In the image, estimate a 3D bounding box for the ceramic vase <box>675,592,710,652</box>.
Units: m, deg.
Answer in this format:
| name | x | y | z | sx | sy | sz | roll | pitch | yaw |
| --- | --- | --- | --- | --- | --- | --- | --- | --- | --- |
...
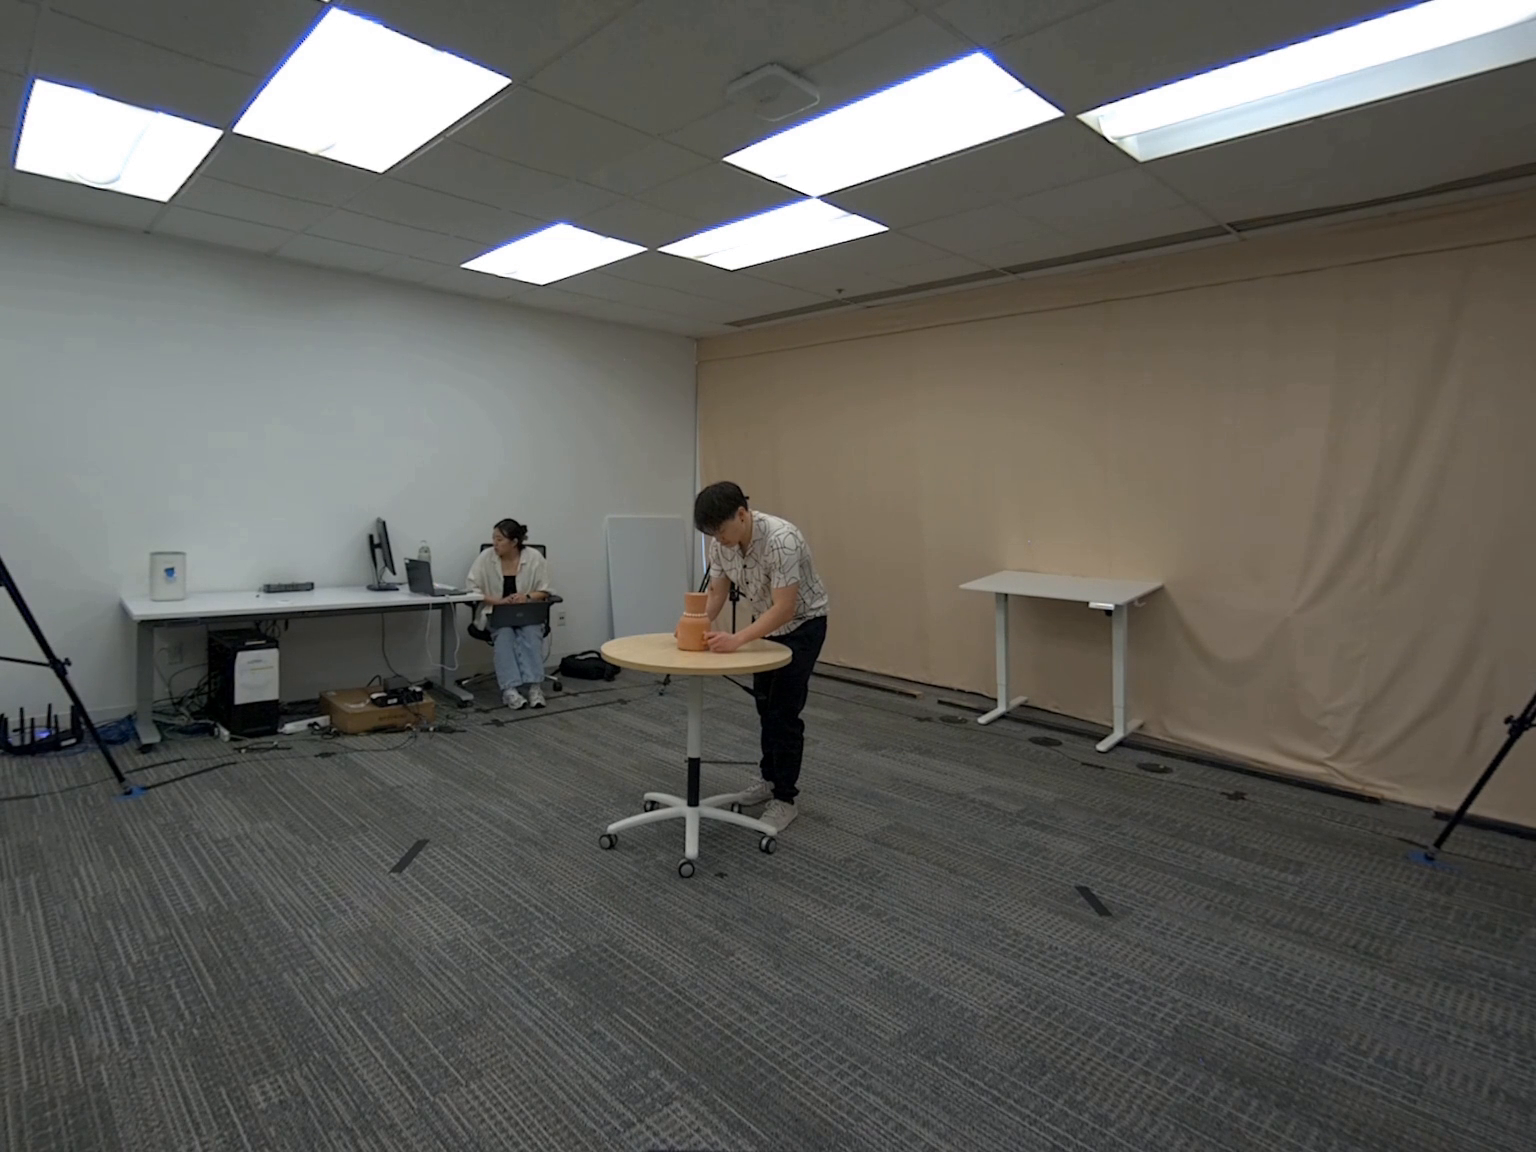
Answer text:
| name | x | y | z | sx | sy | sz | roll | pitch | yaw |
| --- | --- | --- | --- | --- | --- | --- | --- | --- | --- |
| ceramic vase | -0.300 | 0.181 | 3.384 | 0.160 | 0.220 | 0.133 | 4 | 0 | 10 |
